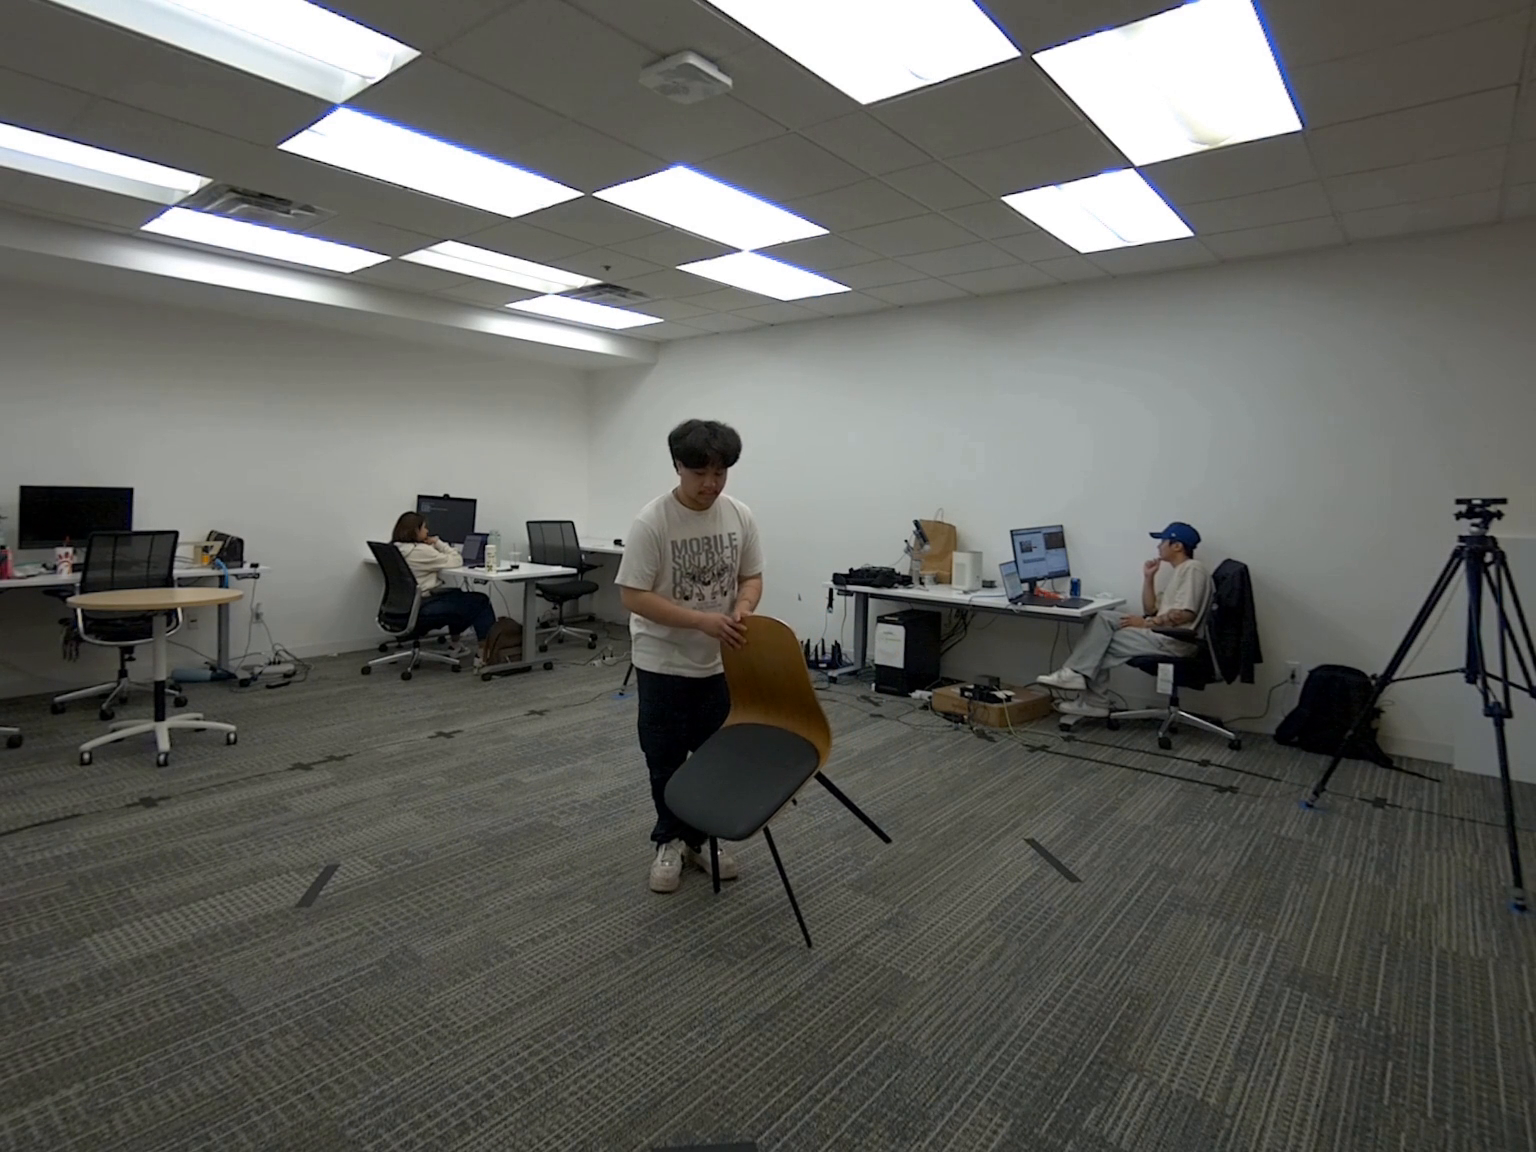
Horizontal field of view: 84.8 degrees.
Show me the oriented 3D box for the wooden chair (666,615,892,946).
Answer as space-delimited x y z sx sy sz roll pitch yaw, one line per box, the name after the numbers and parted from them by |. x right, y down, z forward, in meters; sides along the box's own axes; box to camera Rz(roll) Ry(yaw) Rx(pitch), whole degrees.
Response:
-0.048 0.633 2.712 0.518 0.856 0.495 -35 26 -35 | wooden chair
